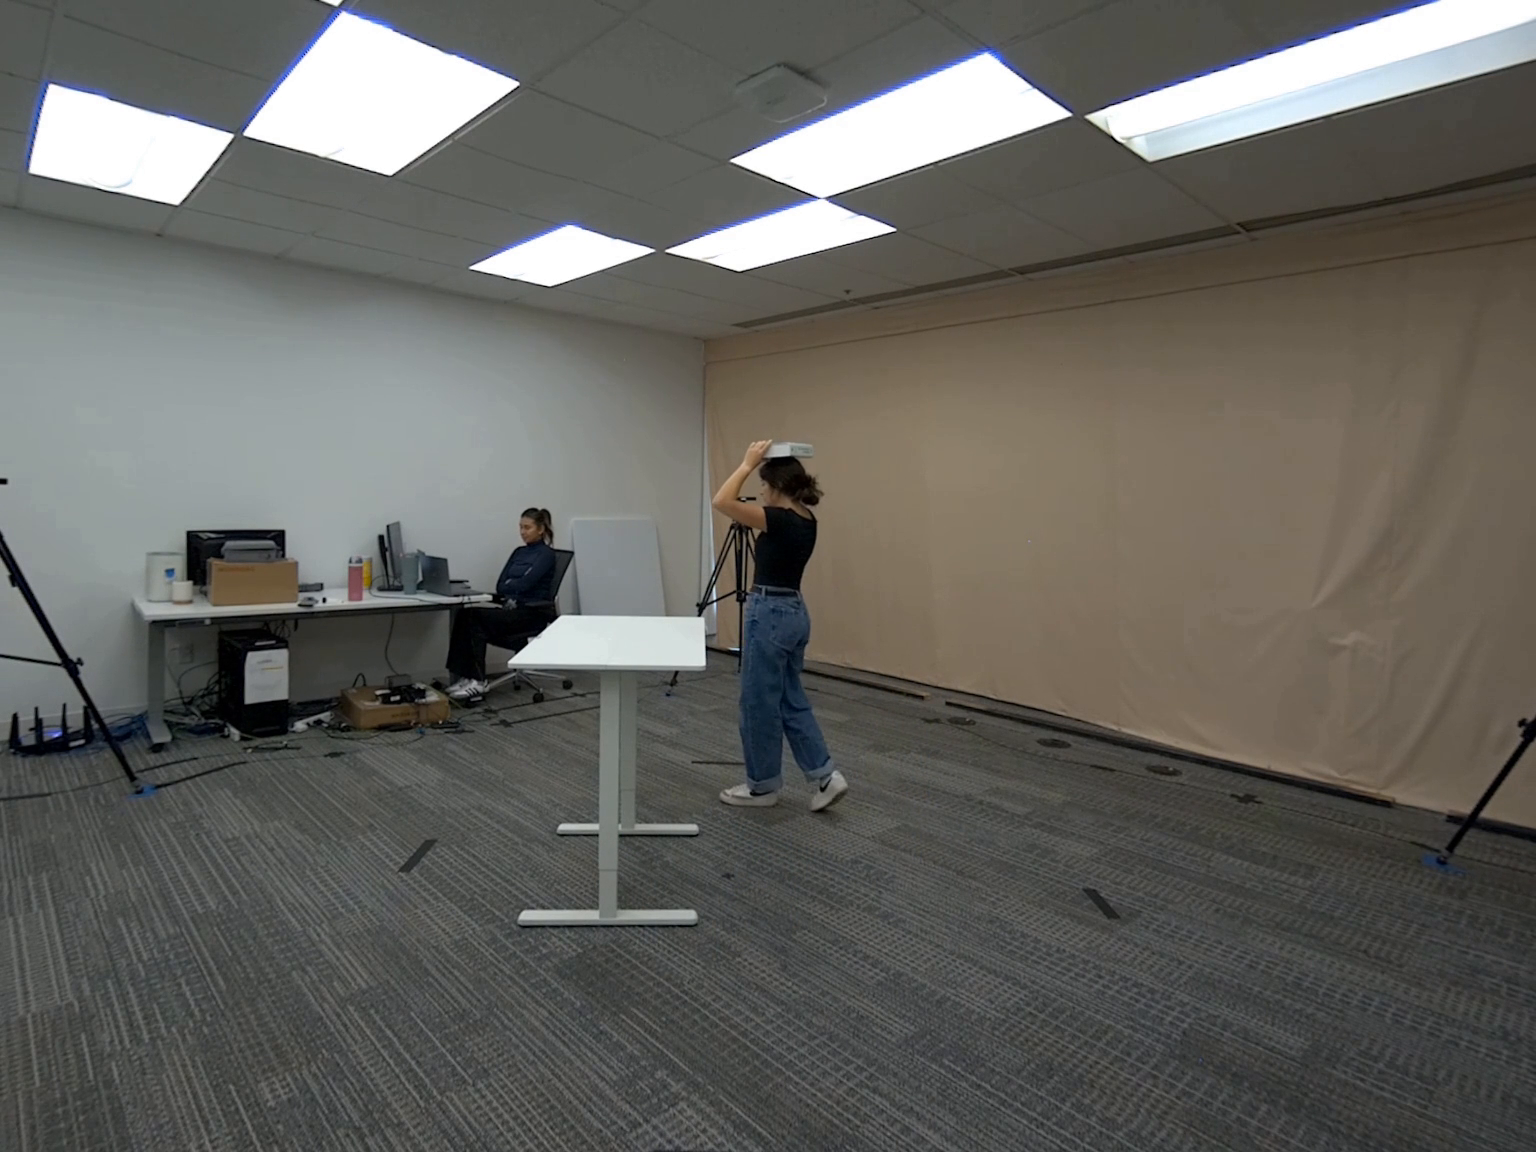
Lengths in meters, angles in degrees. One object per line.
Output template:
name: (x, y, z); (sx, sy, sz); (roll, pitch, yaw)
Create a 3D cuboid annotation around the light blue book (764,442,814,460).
light blue book: (0.057, -0.557, 3.747); (0.195, 0.059, 0.257); (1, 6, 24)
